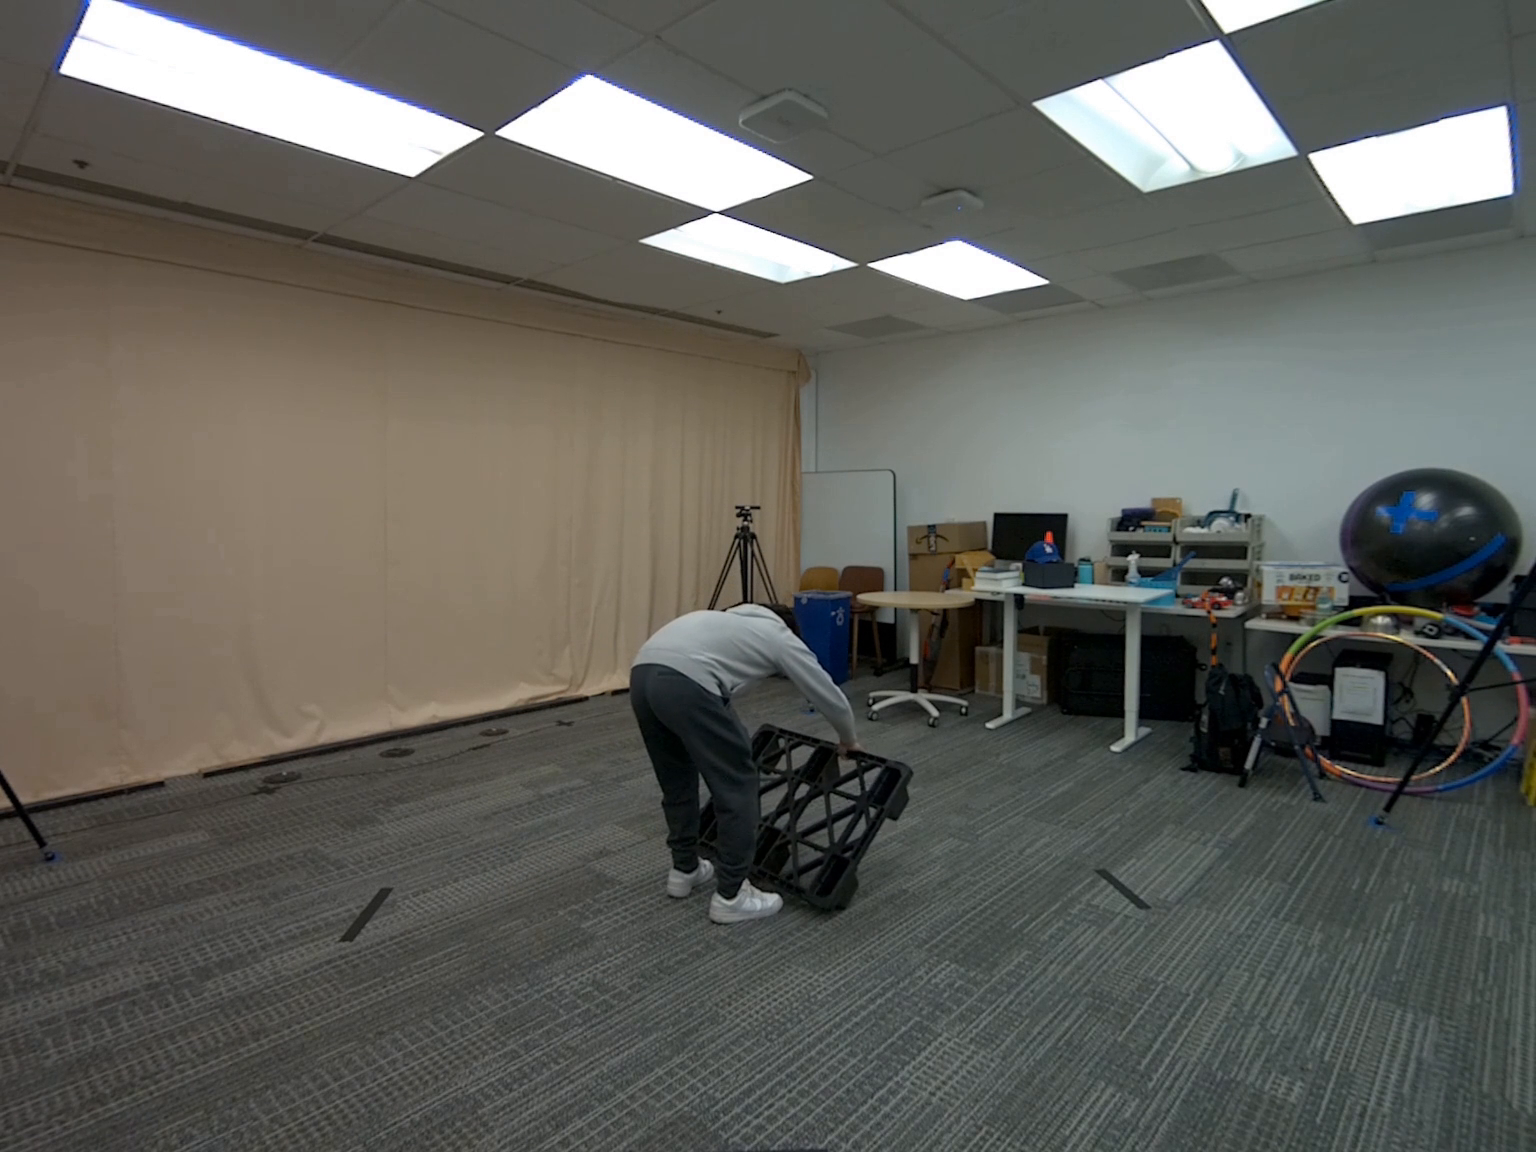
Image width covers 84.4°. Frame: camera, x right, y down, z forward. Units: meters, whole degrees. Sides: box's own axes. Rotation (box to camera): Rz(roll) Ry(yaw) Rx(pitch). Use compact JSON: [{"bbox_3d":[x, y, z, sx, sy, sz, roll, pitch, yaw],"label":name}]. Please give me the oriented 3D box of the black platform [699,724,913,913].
[{"bbox_3d":[0.118,0.915,3.251,0.832,0.139,0.602,5,49,48],"label":"black platform"}]
